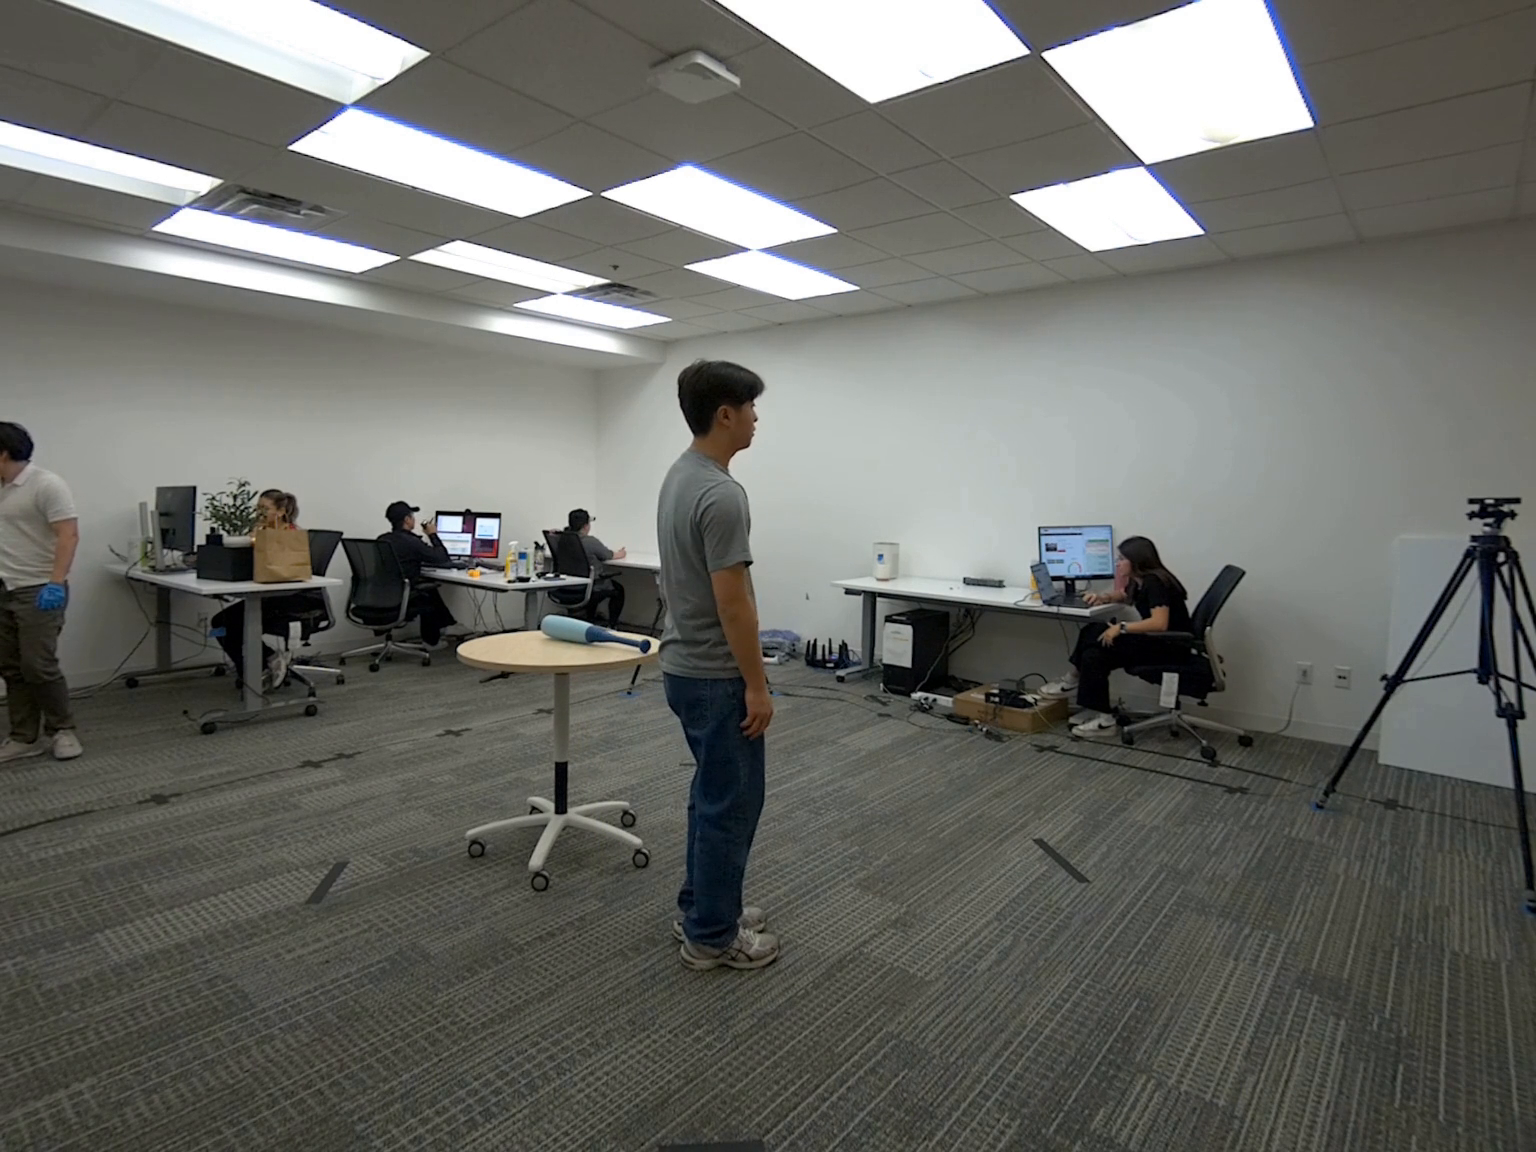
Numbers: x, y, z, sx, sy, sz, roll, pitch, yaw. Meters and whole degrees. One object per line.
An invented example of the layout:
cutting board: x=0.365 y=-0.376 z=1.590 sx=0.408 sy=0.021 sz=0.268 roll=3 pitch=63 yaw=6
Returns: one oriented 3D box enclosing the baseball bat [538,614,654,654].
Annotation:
baseball bat: x=-0.667 y=0.222 z=3.242 sx=0.561 sy=0.089 sz=0.086 roll=6 pitch=6 yaw=35
